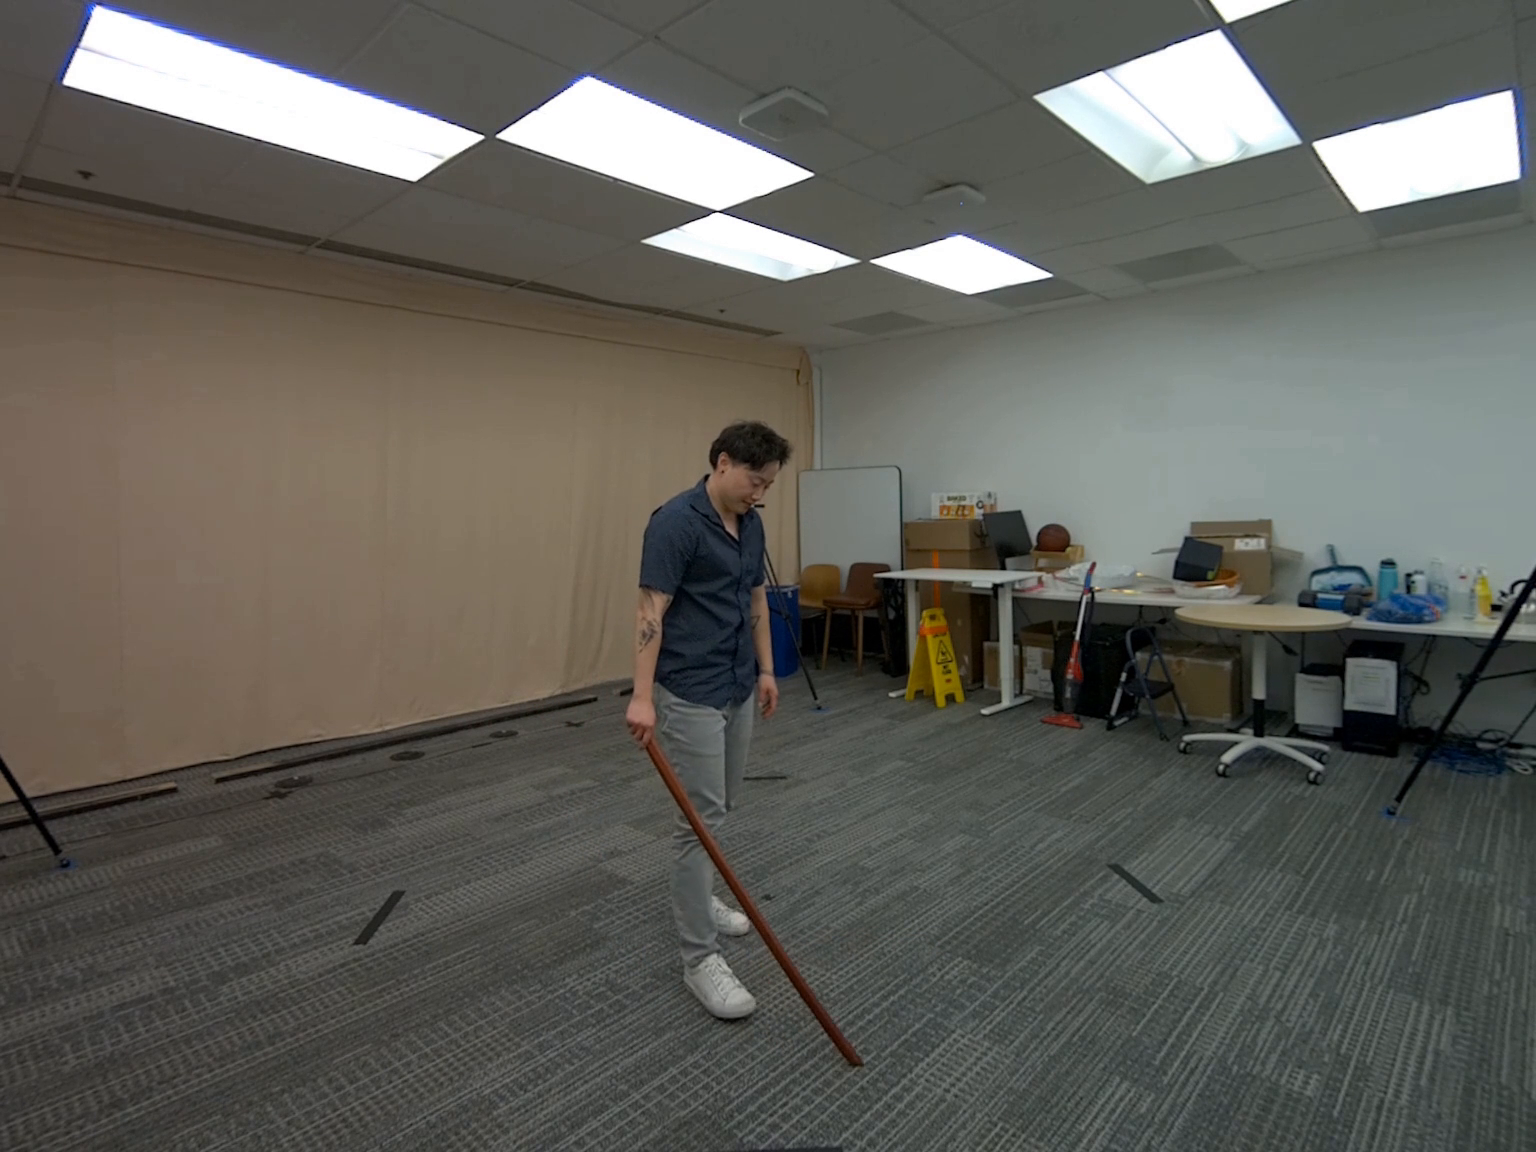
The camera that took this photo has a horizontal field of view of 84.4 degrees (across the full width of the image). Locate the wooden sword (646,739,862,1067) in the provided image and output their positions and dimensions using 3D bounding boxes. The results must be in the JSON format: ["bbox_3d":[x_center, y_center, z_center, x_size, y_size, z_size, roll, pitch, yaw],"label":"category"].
[{"bbox_3d":[-0.070,0.808,2.202,0.024,1.041,0.050,-37,-14,2],"label":"wooden sword"}]
